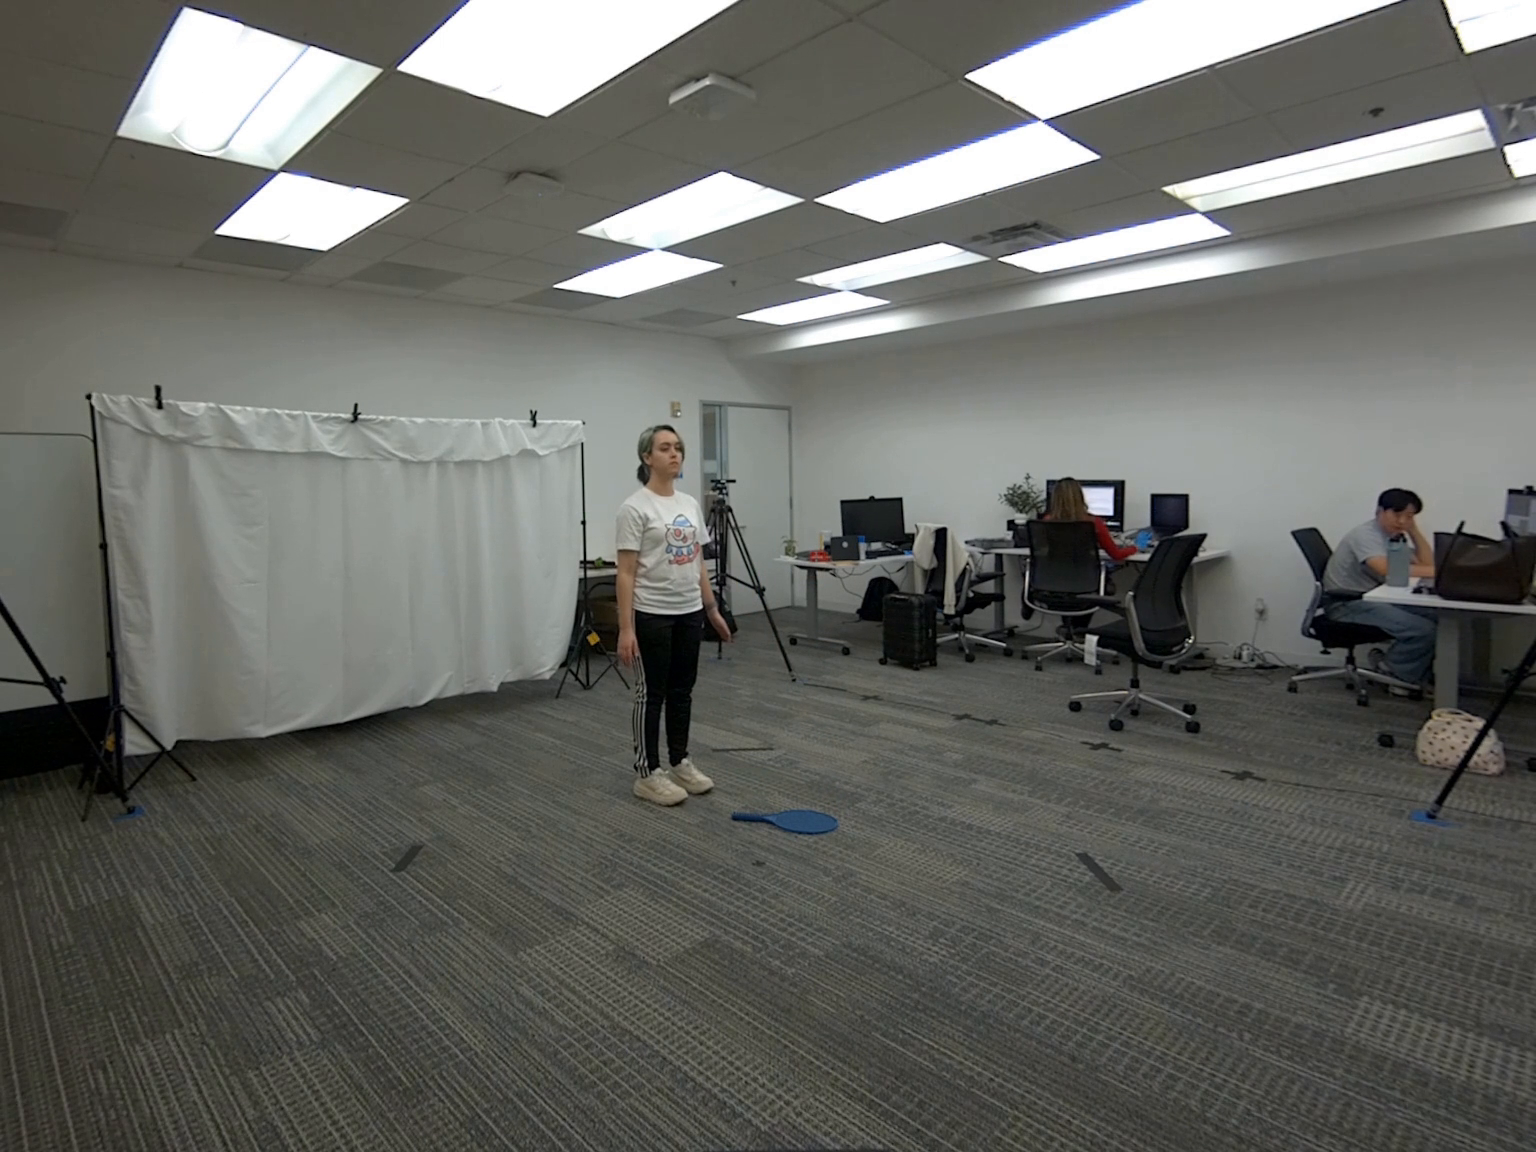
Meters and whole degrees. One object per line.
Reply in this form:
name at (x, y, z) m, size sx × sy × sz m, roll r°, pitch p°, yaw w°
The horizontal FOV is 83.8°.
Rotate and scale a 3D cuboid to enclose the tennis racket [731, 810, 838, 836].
tennis racket at (0.068, 0.991, 3.476) m, size 0.436 × 0.031 × 0.213 m, roll 1°, pitch 6°, yaw 8°
